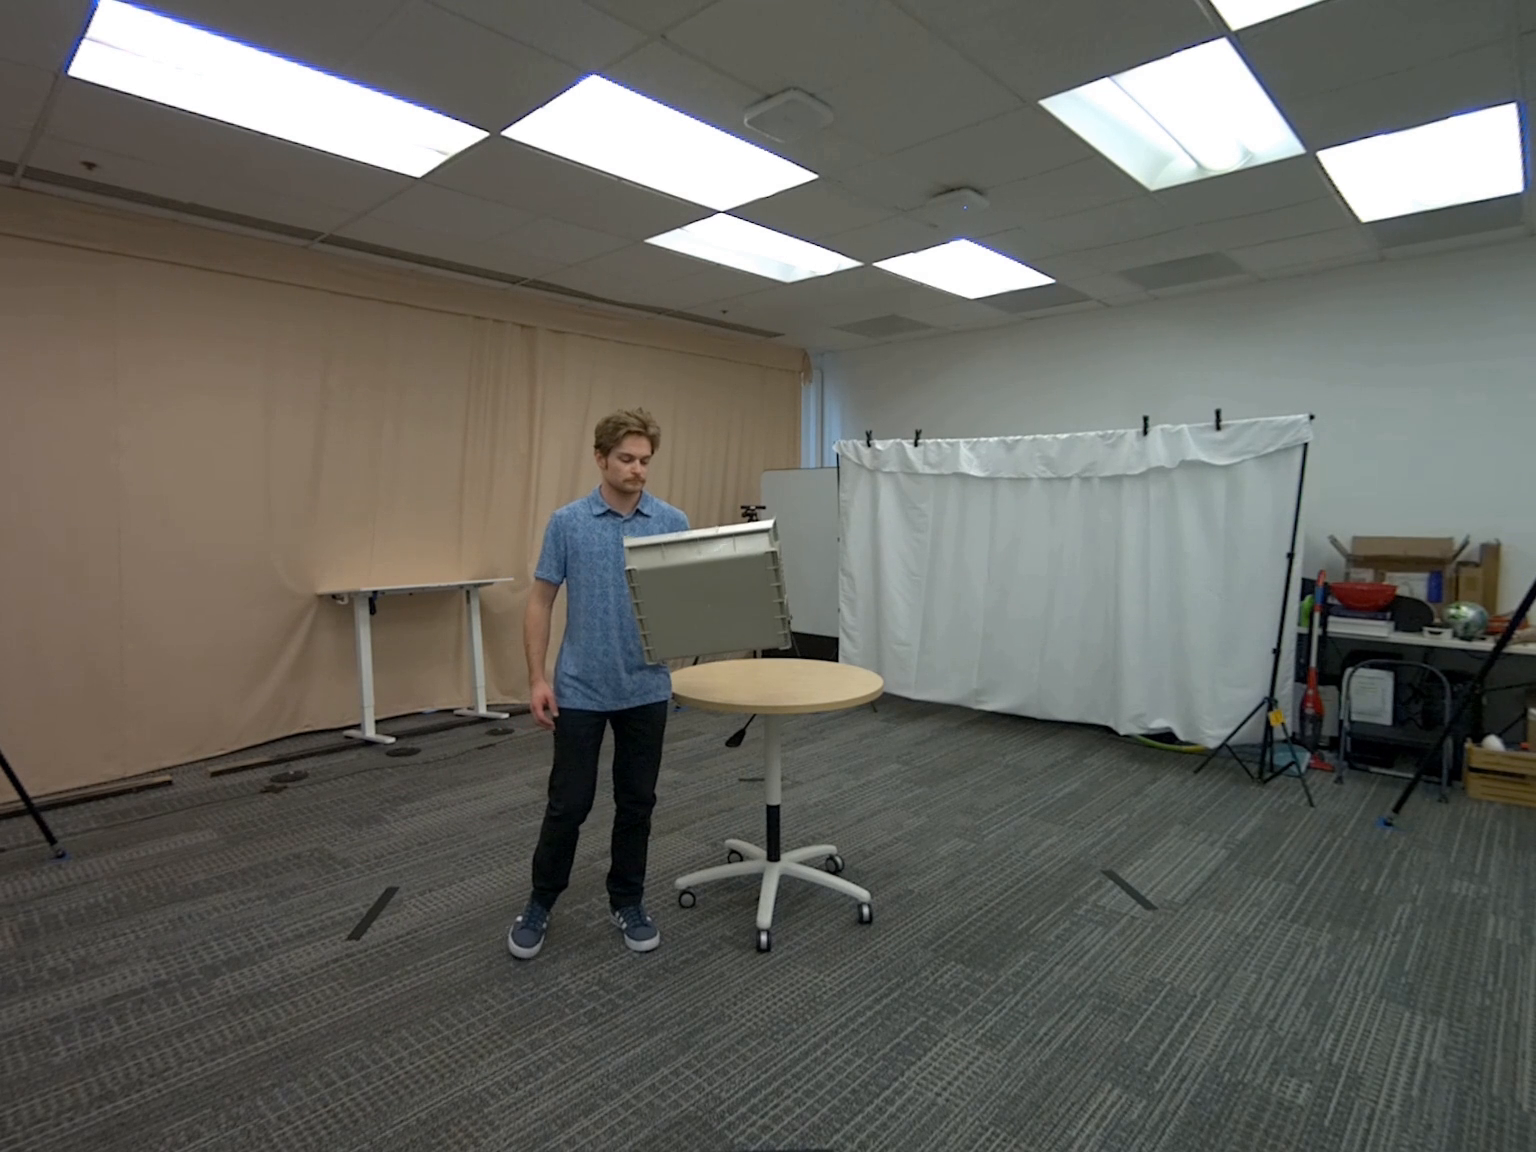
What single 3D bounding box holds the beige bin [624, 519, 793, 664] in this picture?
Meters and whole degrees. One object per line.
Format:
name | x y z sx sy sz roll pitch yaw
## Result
beige bin | -0.156 0.033 2.363 0.425 0.370 0.191 -7 24 6
